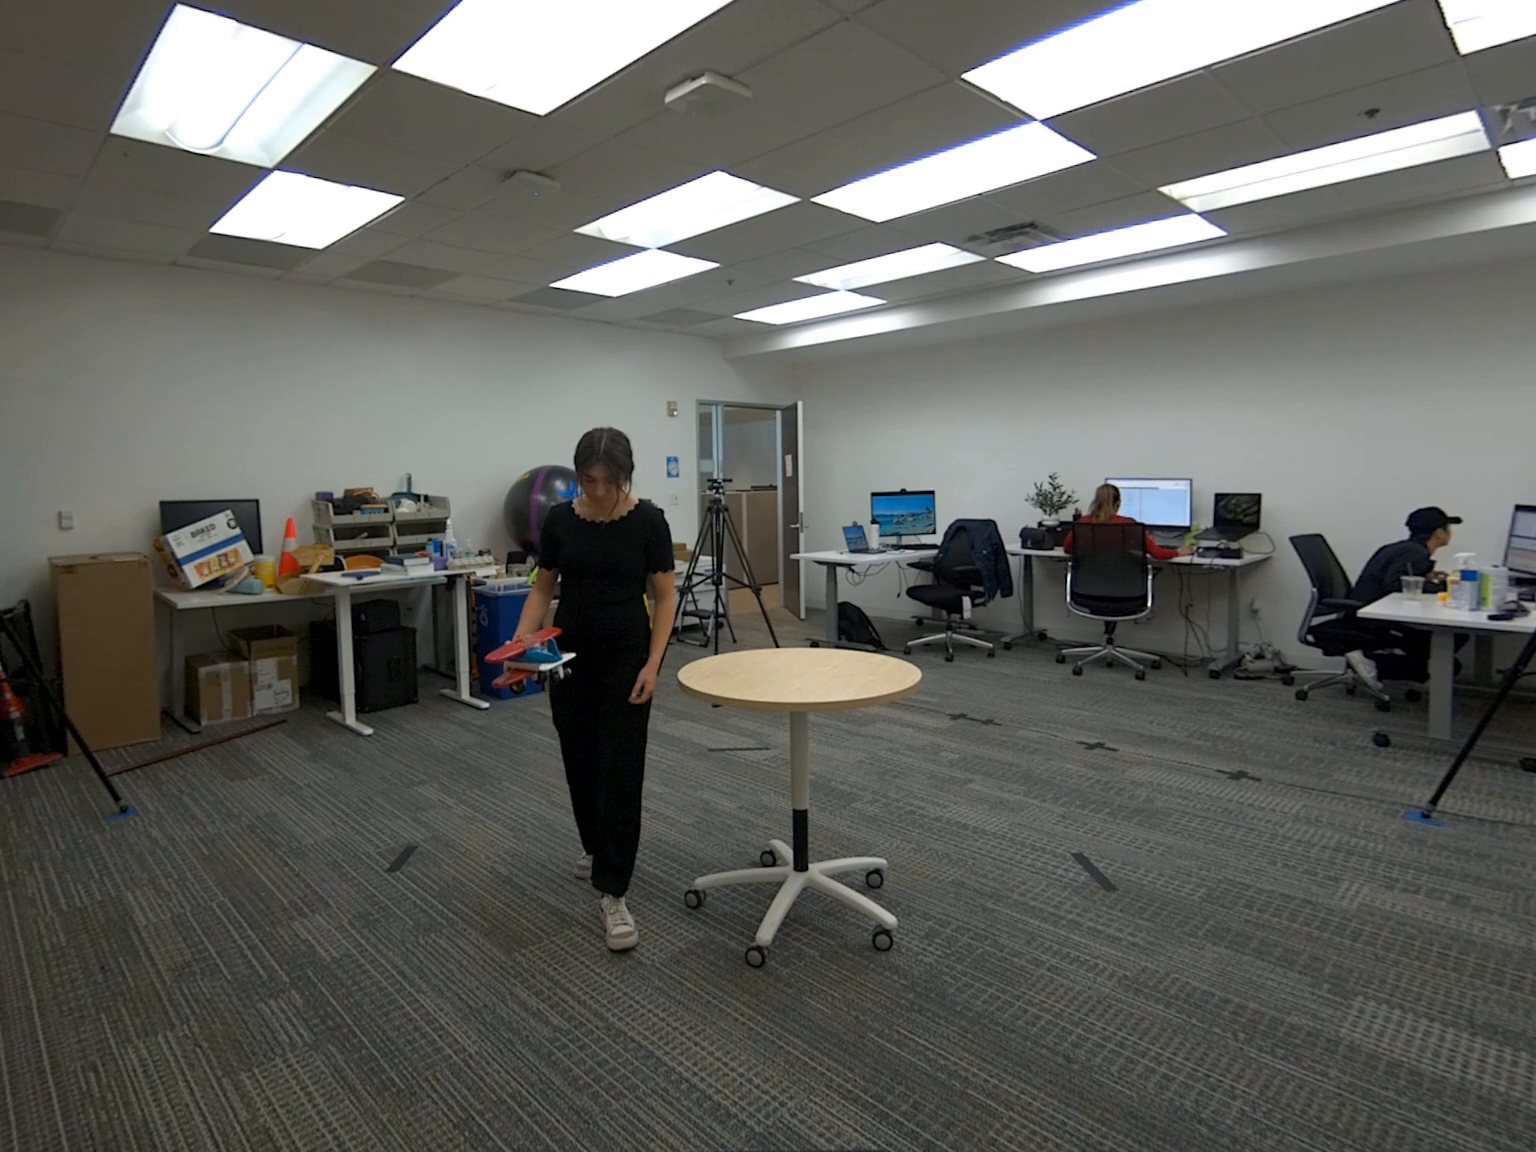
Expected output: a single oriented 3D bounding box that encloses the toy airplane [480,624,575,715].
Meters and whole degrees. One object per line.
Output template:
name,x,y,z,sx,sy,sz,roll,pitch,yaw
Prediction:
toy airplane,-0.663,0.250,2.561,0.261,0.156,0.251,-25,5,12
